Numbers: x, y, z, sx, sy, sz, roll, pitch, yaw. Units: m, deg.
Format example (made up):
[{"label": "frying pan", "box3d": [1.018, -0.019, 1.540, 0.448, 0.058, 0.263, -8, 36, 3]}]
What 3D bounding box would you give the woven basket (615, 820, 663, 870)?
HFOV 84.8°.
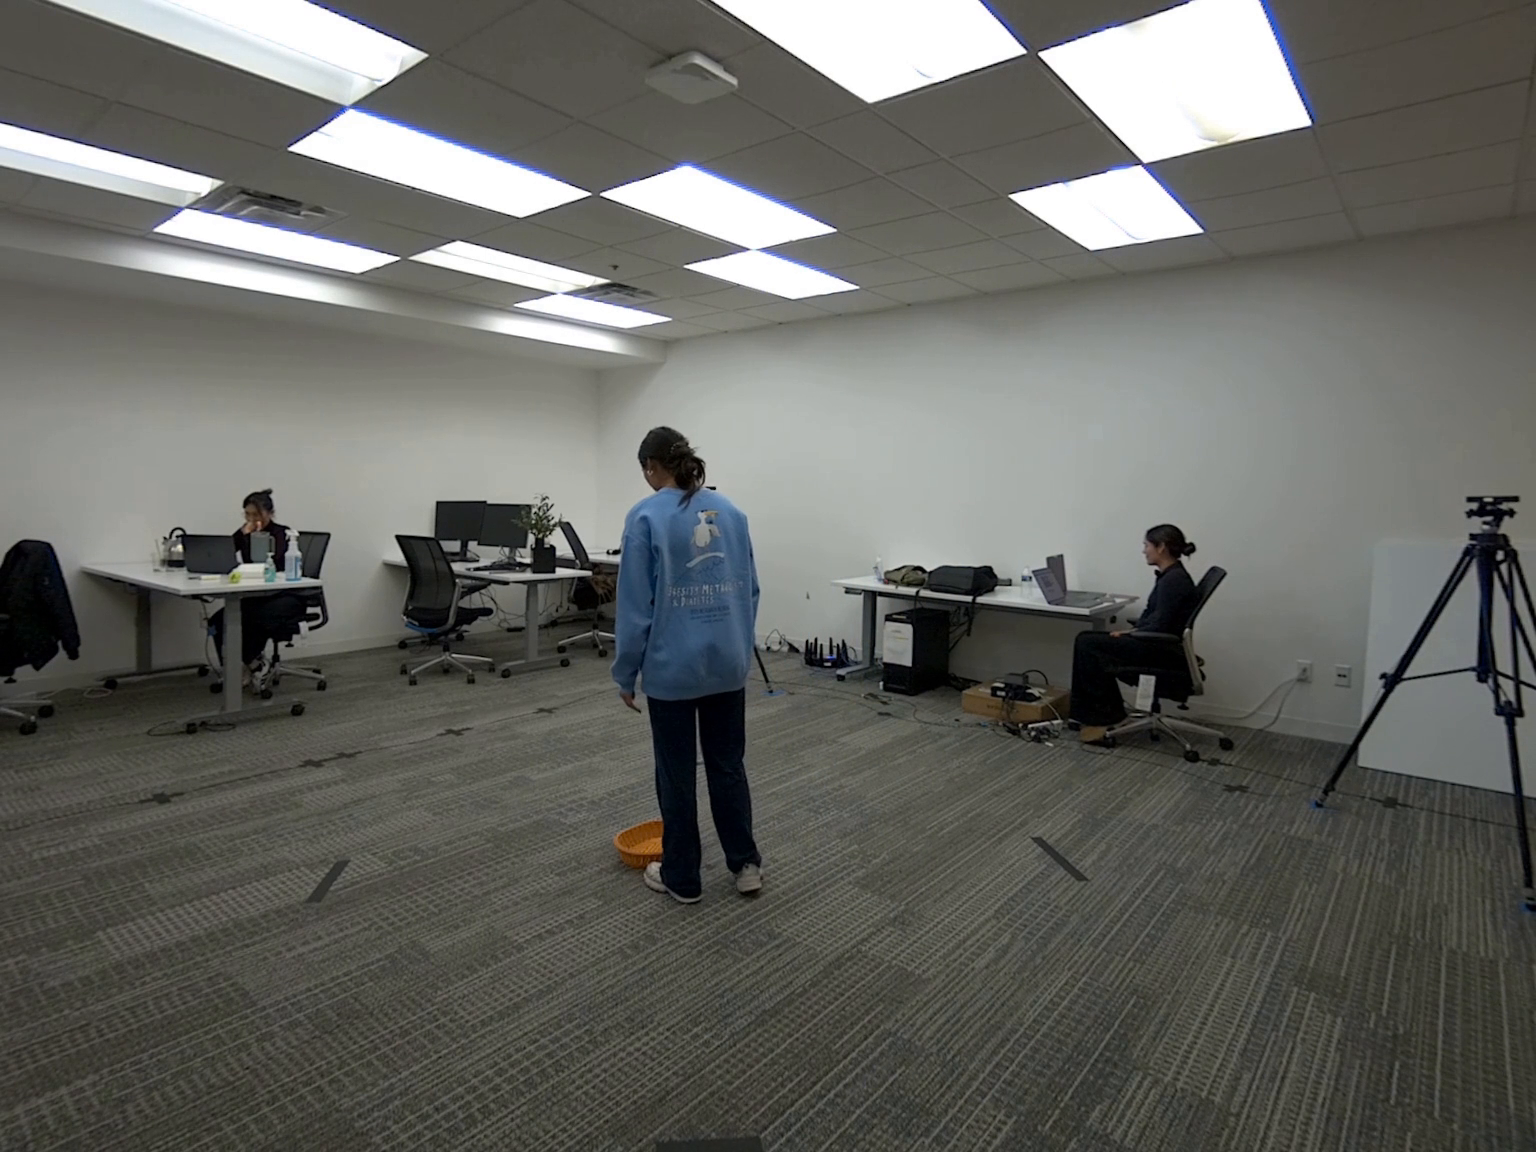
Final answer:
[{"label": "woven basket", "box3d": [-0.433, 1.009, 3.215, 0.261, 0.073, 0.340, 6, 7, 37]}]
